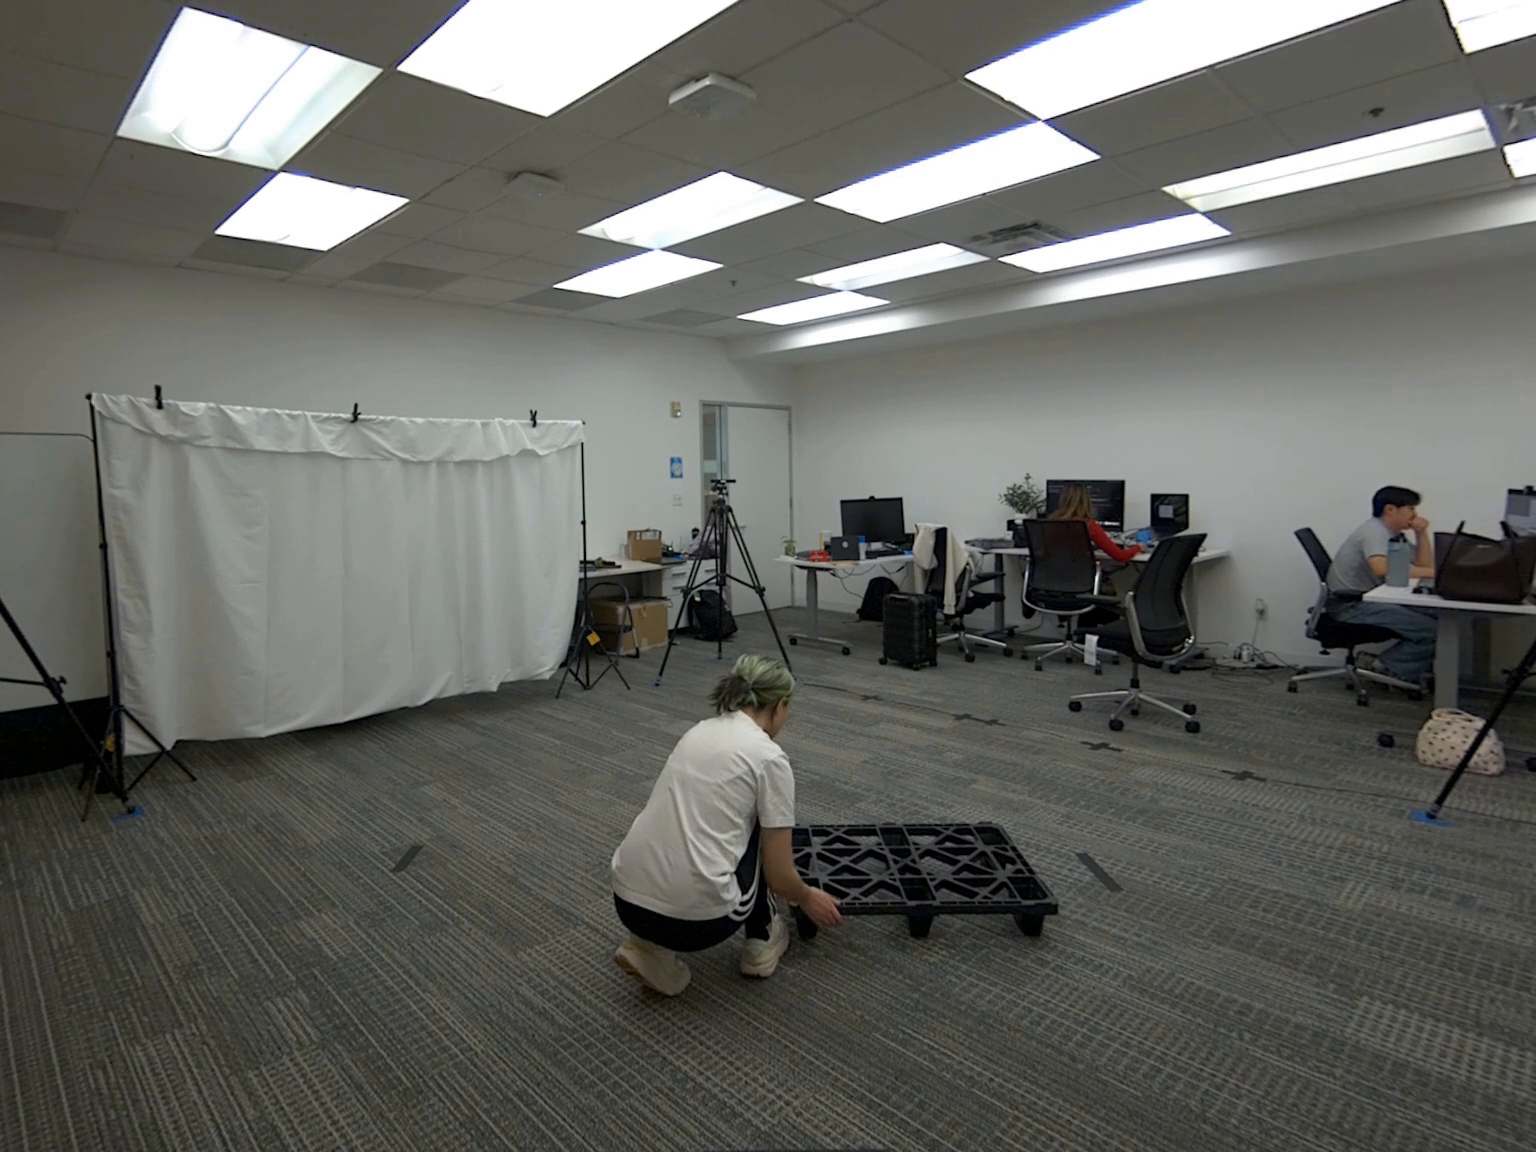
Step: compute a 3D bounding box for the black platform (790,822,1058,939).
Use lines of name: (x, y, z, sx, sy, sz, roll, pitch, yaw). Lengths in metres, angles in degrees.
black platform: (0.454, 1.002, 2.827, 0.806, 0.143, 0.607, -1, 6, 0)
